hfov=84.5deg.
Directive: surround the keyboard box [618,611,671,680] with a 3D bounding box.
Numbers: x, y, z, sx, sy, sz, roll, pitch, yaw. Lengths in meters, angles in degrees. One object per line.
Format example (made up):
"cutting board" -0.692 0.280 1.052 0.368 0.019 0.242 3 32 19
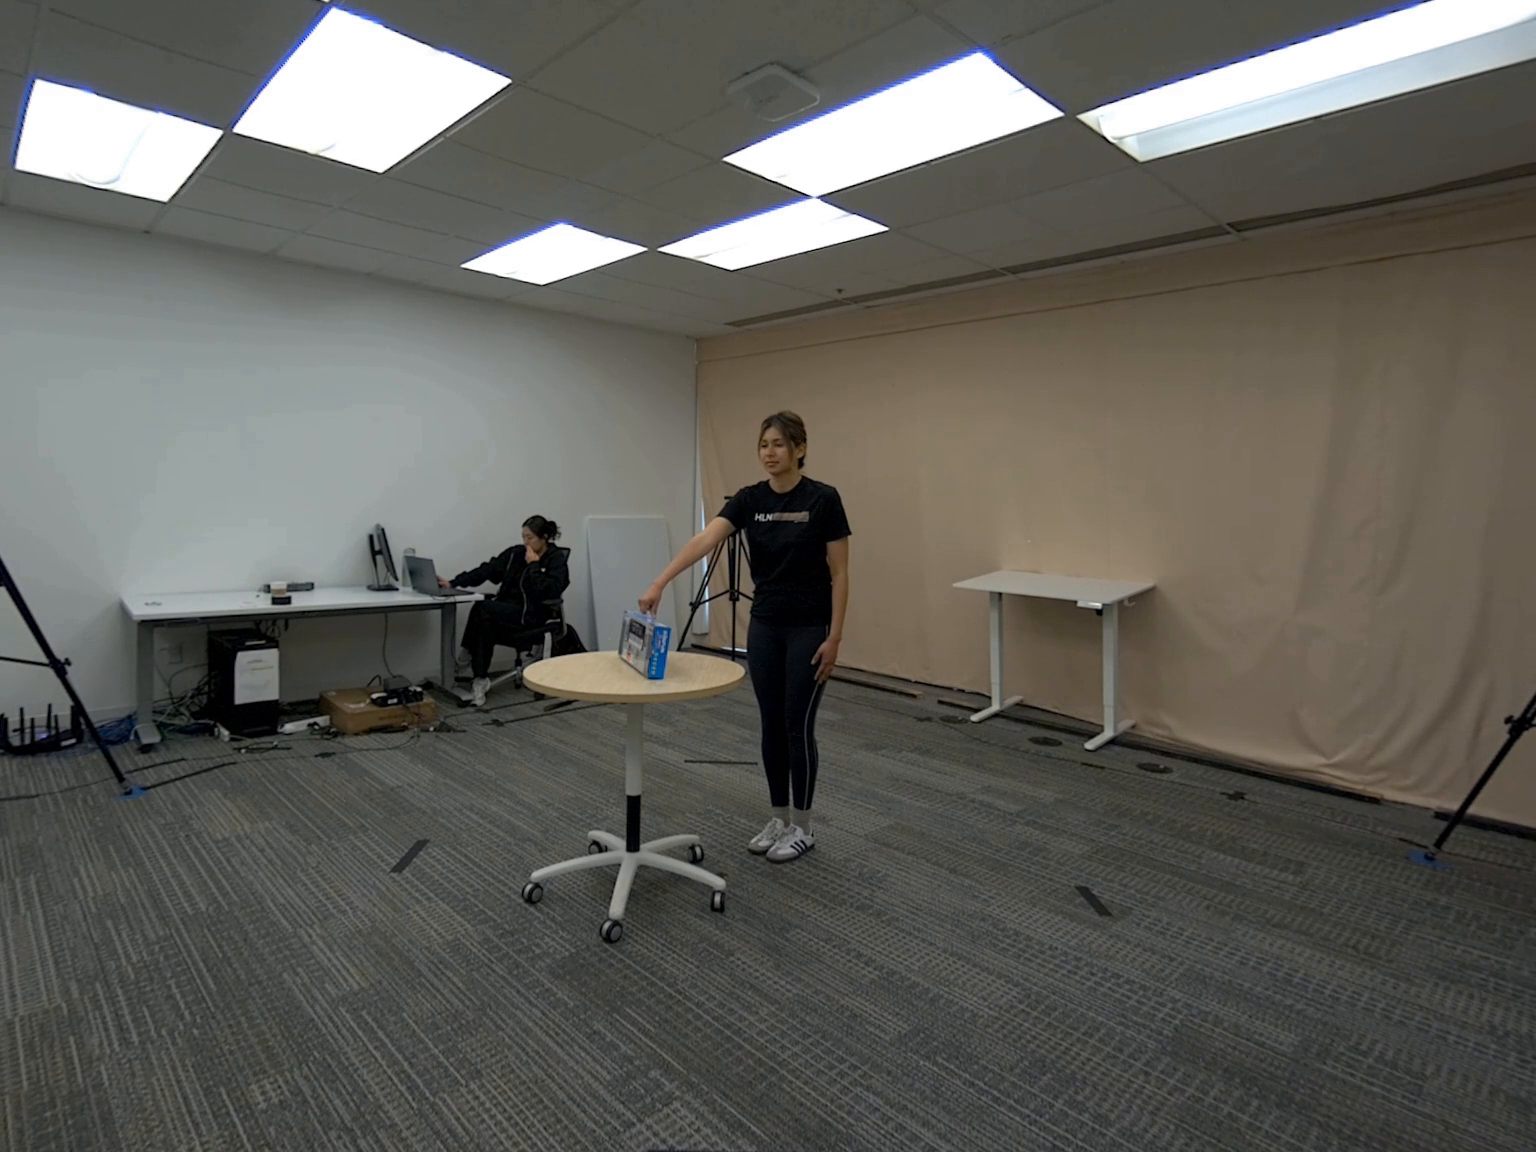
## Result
"keyboard box" -0.447 0.235 2.971 0.058 0.176 0.445 8 2 -22
